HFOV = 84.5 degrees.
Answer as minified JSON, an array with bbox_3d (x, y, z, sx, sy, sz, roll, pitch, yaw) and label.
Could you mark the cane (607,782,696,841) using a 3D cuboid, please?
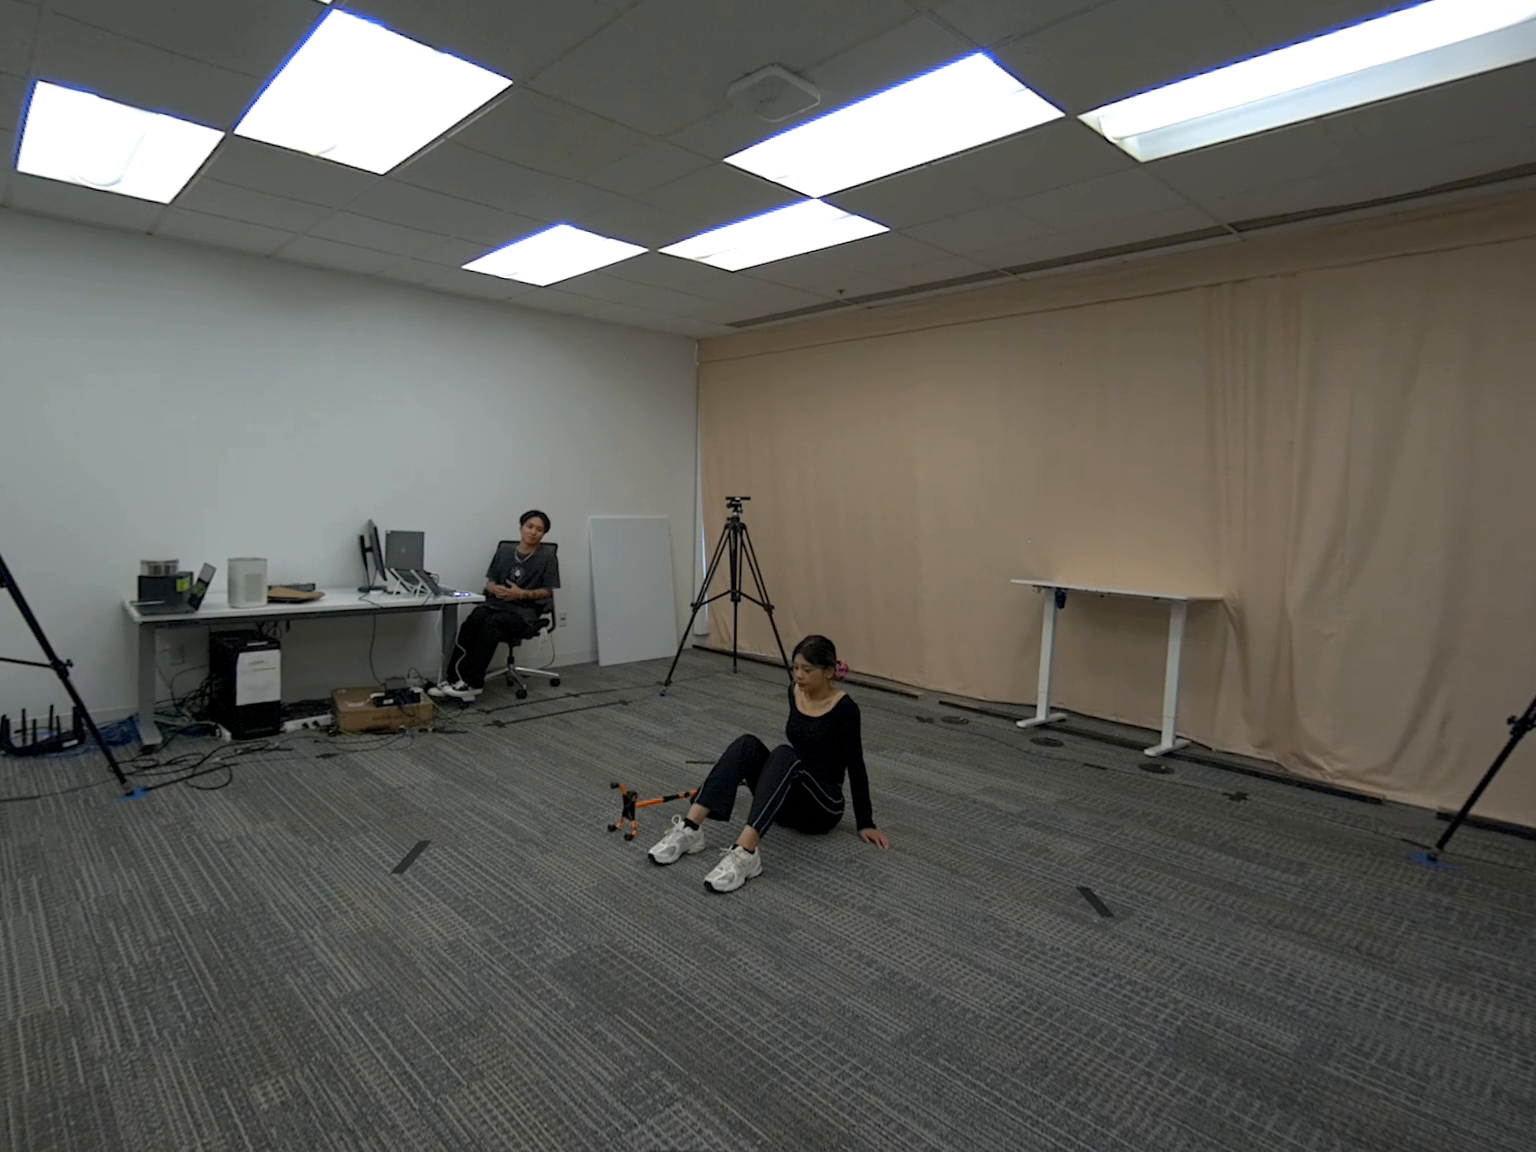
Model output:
[{"bbox_3d":[-0.291,0.953,3.744,0.886,0.206,0.155,0,3,-42],"label":"cane"}]
